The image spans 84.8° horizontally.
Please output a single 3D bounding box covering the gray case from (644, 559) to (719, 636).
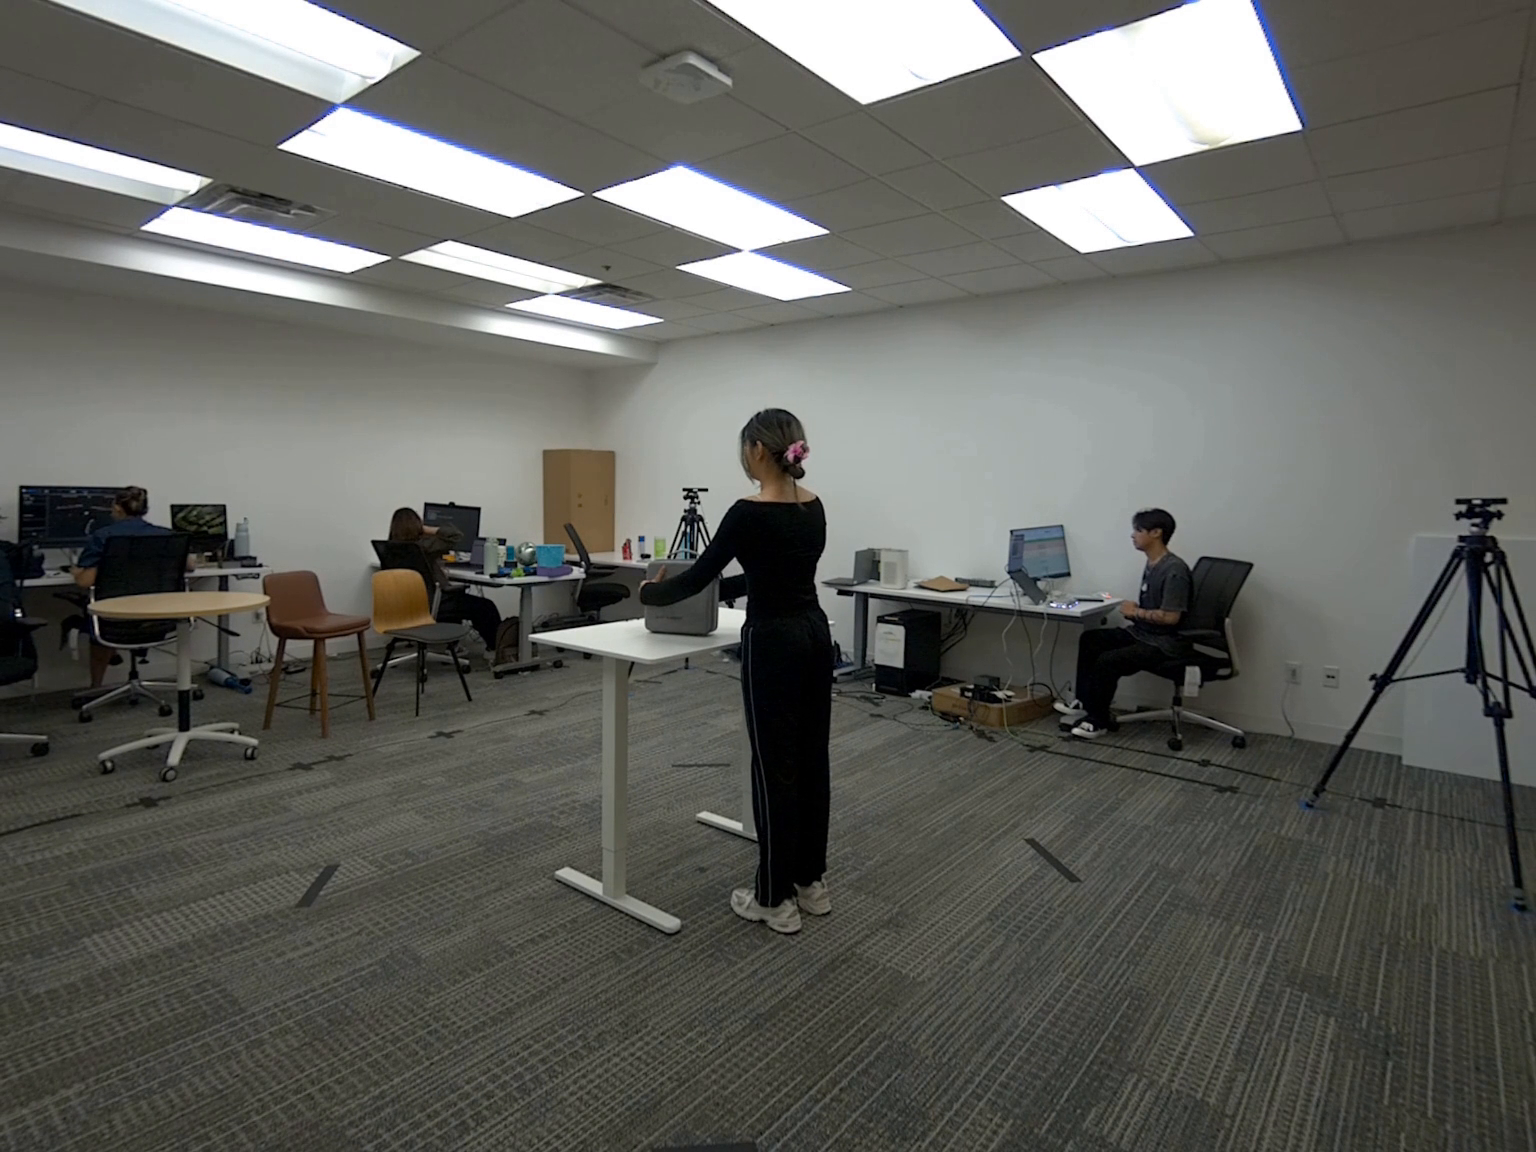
[{"bbox_3d":[-0.311,0.067,2.985,0.262,0.261,0.102,1,-3,19],"label":"gray case"}]
